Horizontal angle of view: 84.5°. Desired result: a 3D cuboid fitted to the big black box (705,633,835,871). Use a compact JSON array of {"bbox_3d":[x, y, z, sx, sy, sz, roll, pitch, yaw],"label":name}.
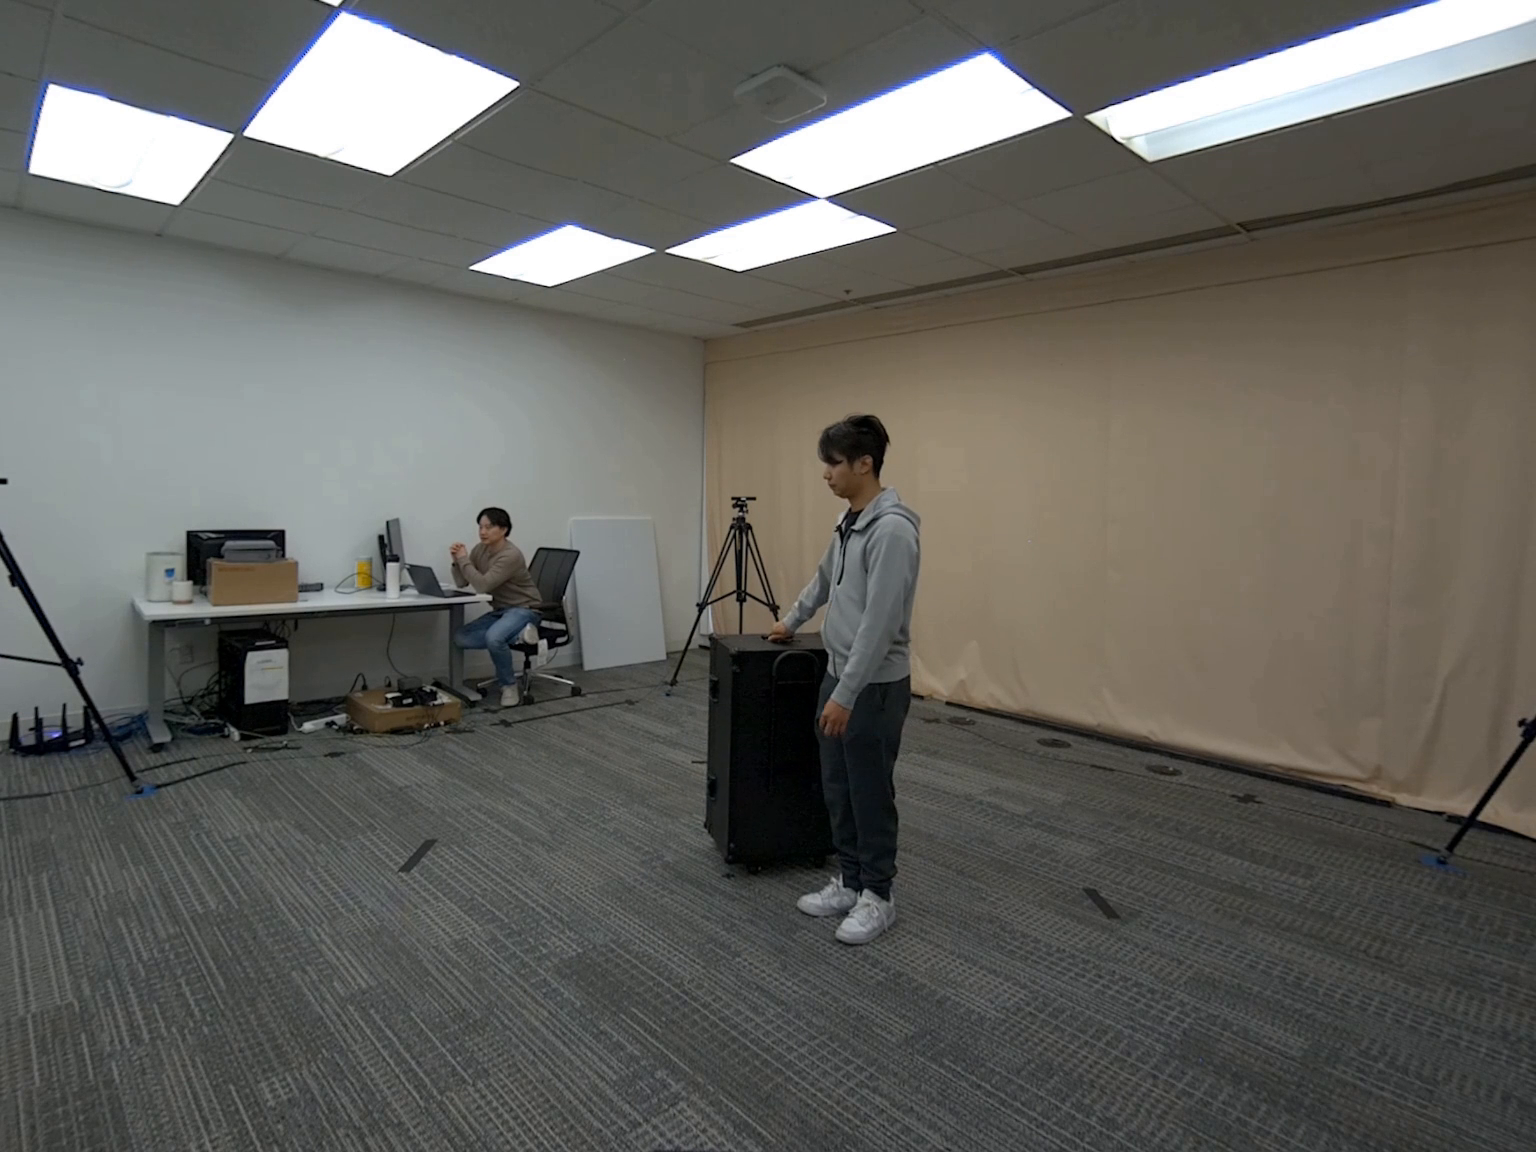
[{"bbox_3d":[0.040,0.672,3.243,0.515,0.859,0.402,1,5,-16],"label":"big black box"}]
